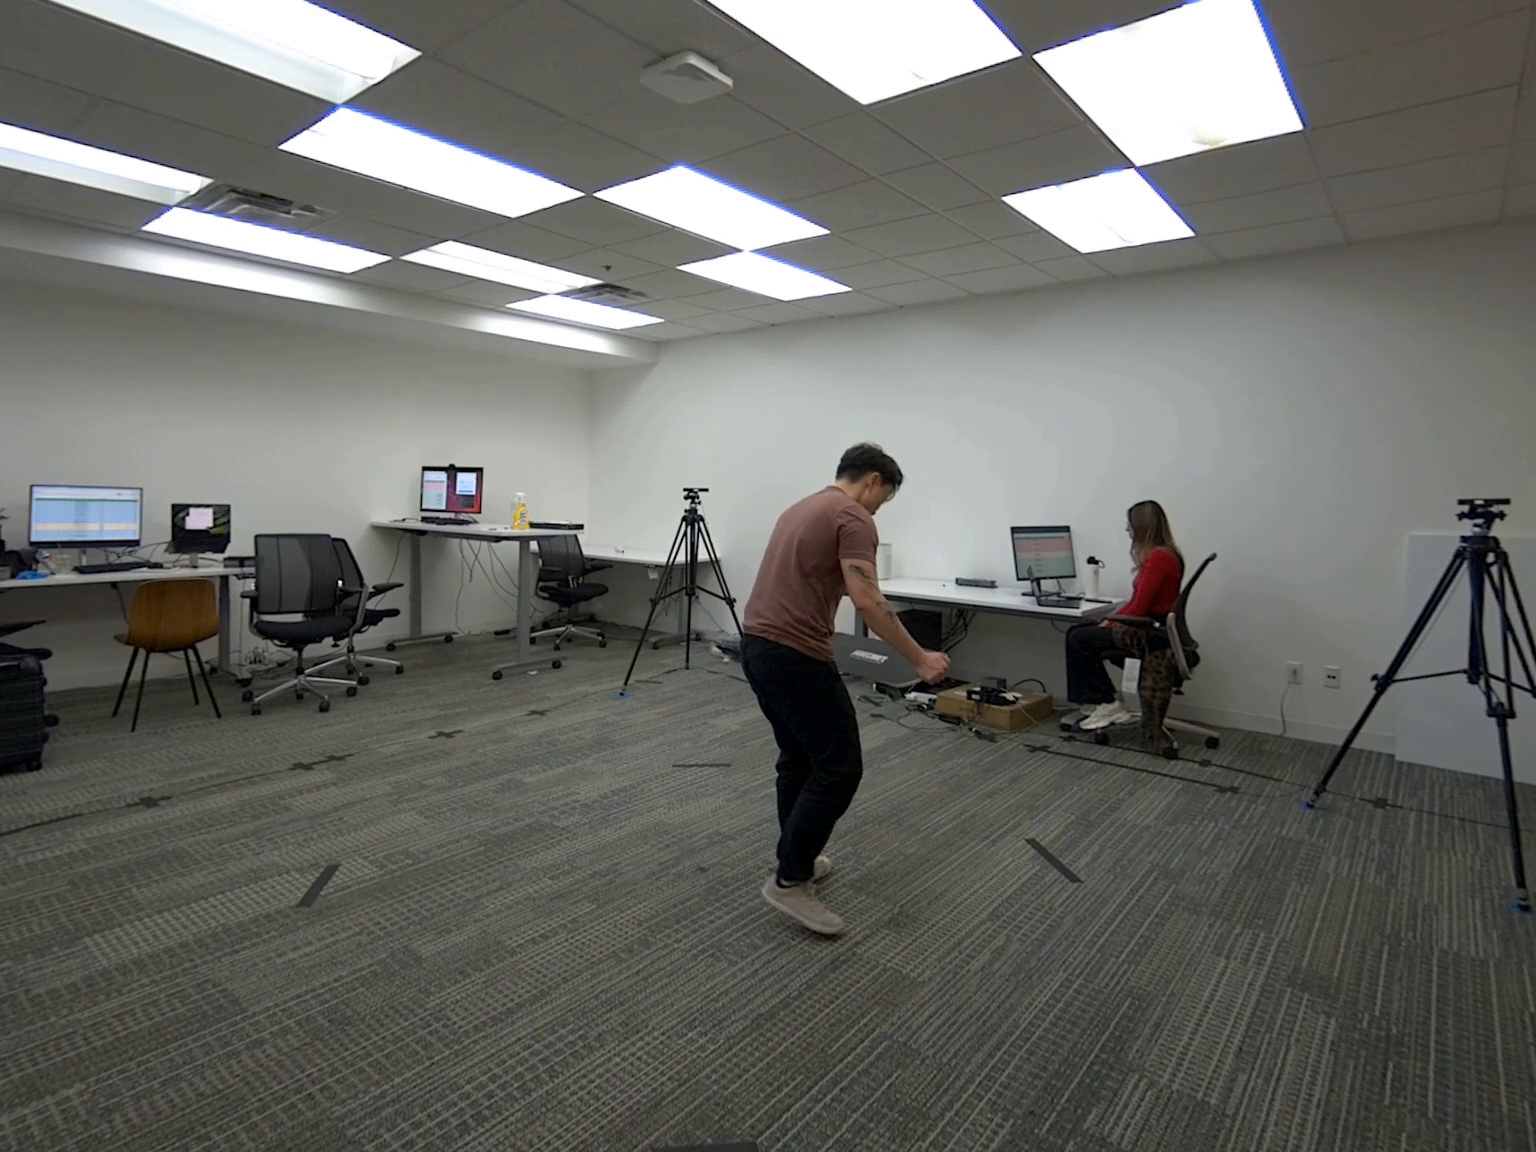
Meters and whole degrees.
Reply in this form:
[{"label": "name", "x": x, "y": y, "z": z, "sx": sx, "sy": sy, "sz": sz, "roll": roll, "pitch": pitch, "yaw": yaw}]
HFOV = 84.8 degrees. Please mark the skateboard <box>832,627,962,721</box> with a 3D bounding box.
[{"label": "skateboard", "x": 0.351, "y": 0.324, "z": 3.000, "sx": 0.192, "sy": 0.108, "sz": 0.804, "roll": -36, "pitch": 16, "yaw": -17}]
